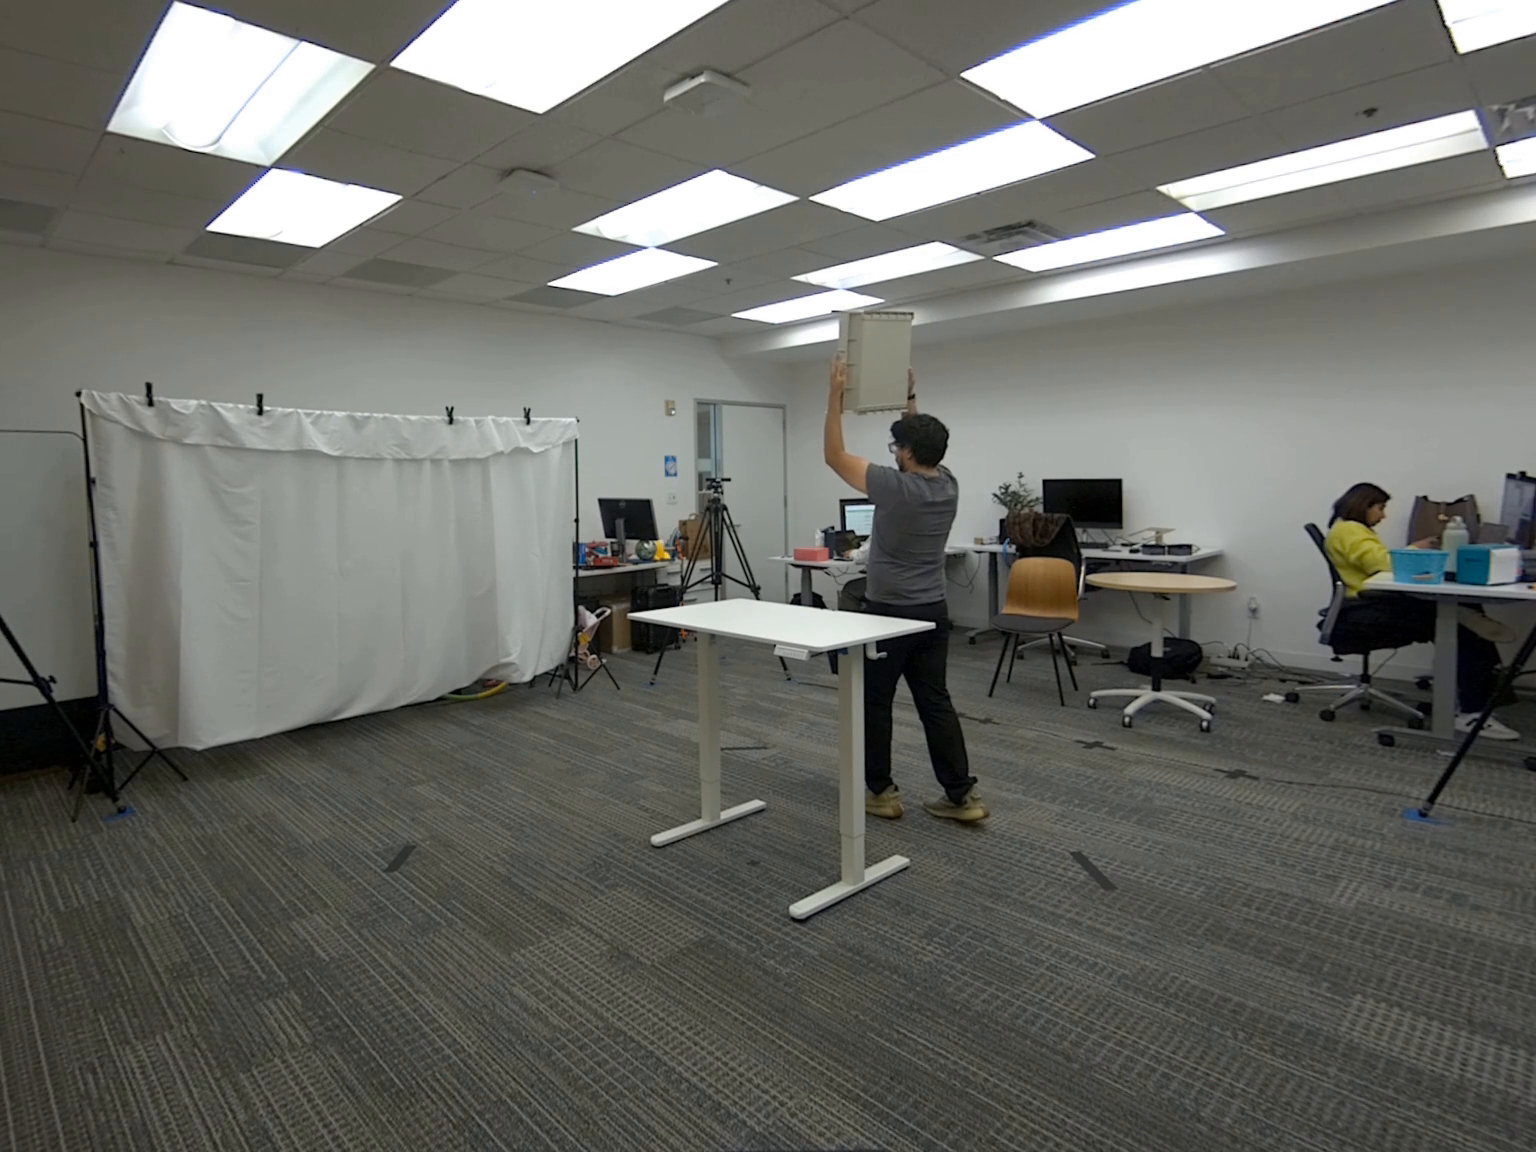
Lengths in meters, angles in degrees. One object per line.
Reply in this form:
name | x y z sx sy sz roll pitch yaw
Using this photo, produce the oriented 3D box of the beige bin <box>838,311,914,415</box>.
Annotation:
beige bin | 0.417 -0.897 3.572 0.369 0.417 0.196 -11 19 -38
